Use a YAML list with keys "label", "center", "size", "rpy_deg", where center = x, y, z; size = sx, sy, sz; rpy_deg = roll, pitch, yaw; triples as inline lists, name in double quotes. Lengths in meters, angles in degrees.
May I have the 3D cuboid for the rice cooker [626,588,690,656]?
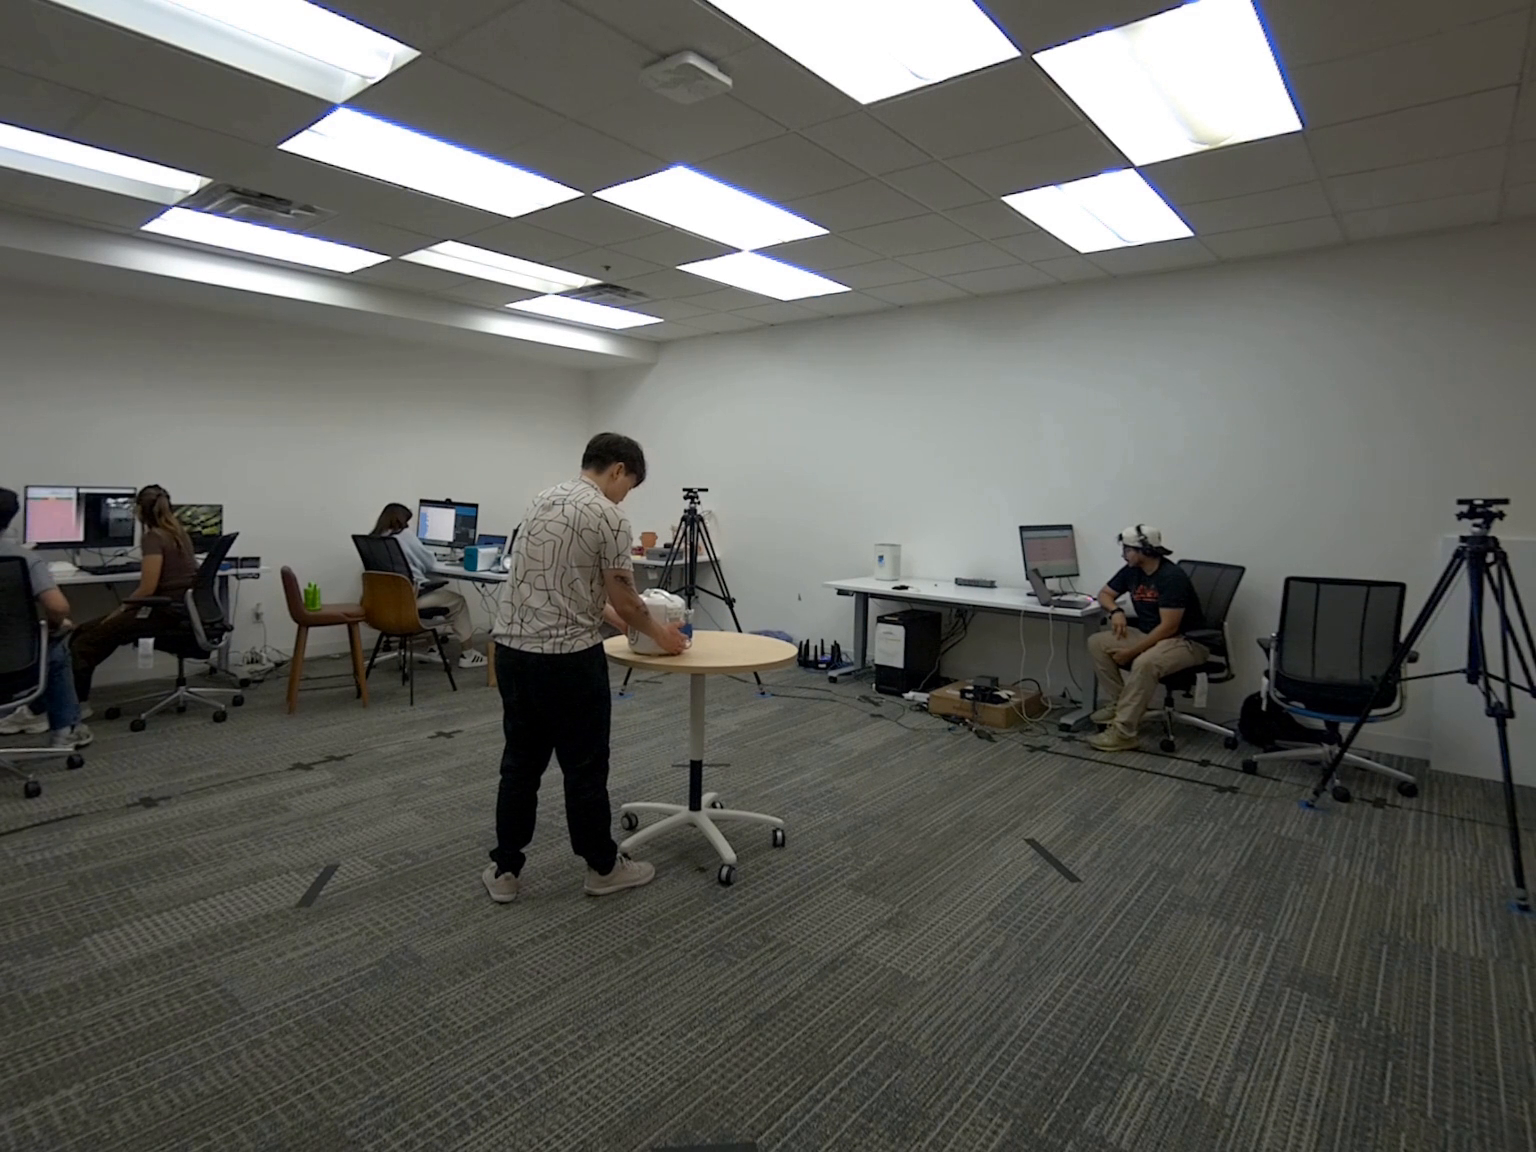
- label: "rice cooker"
  center: [-0.419, 0.165, 3.151]
  size: [0.211, 0.232, 0.228]
  rpy_deg: [-2, 5, -43]
